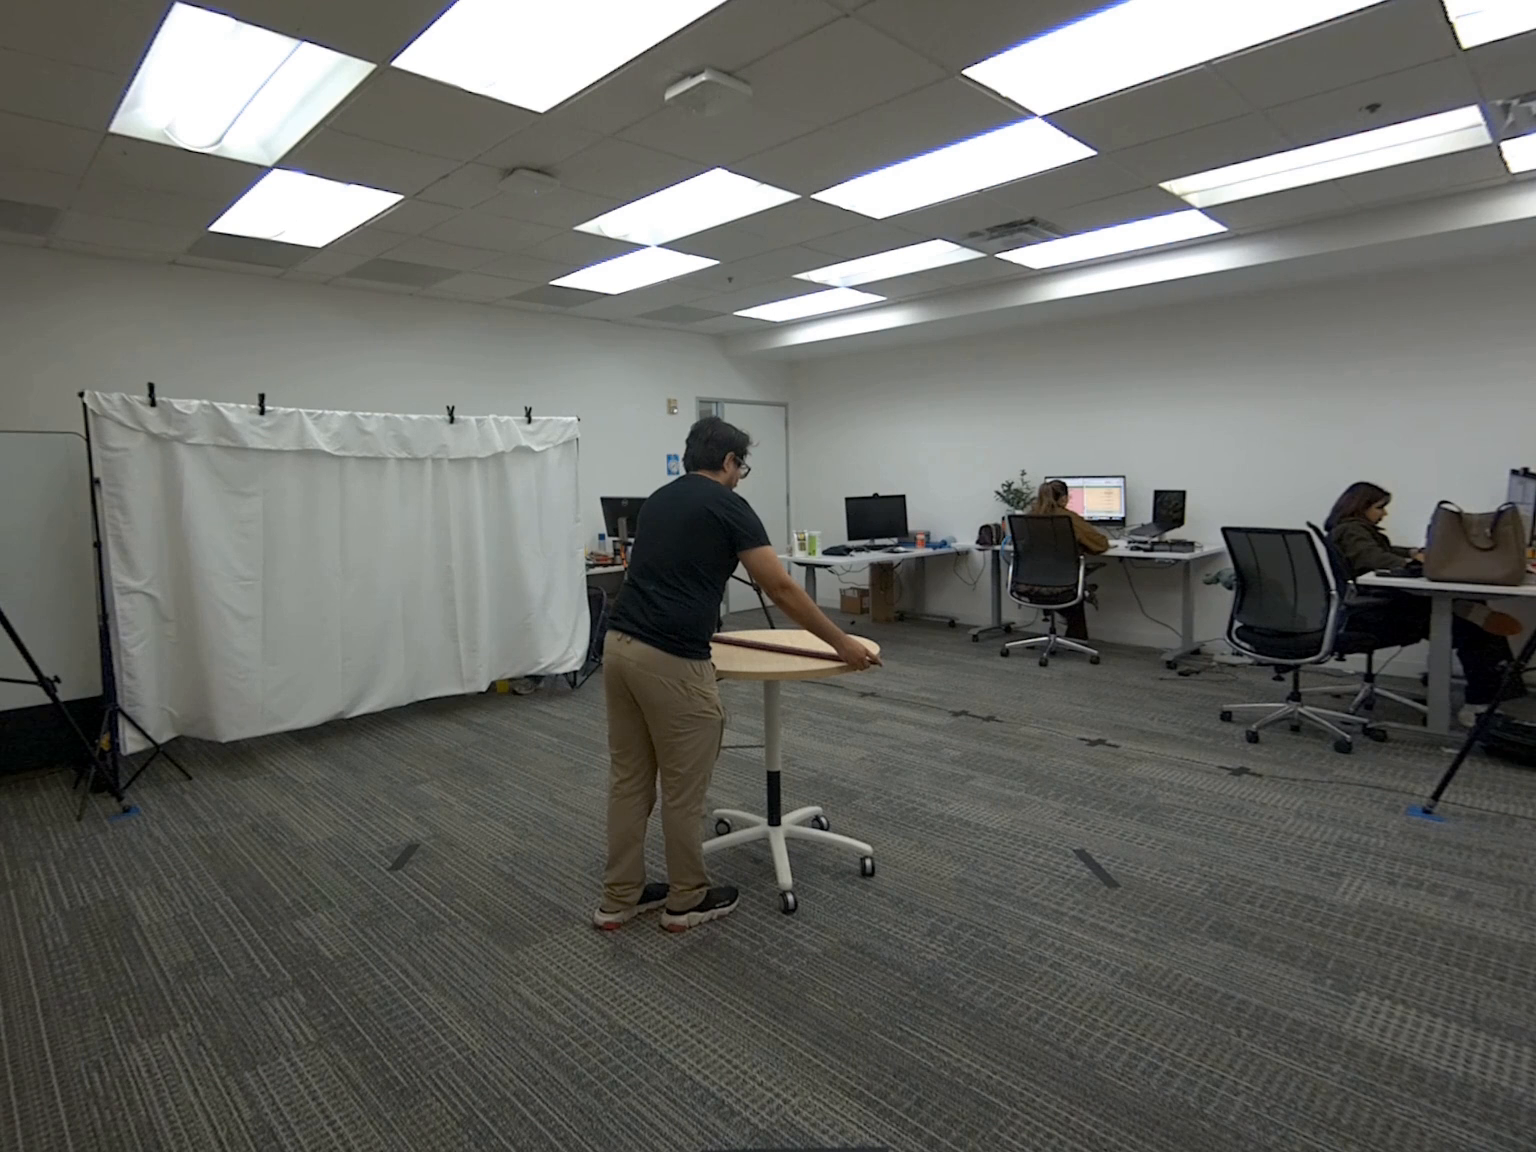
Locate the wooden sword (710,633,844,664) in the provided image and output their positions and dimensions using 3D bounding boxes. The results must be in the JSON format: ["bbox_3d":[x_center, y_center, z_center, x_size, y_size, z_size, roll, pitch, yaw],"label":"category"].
[{"bbox_3d":[-0.048,0.247,3.063,1.056,0.023,0.051,6,43,49],"label":"wooden sword"}]
